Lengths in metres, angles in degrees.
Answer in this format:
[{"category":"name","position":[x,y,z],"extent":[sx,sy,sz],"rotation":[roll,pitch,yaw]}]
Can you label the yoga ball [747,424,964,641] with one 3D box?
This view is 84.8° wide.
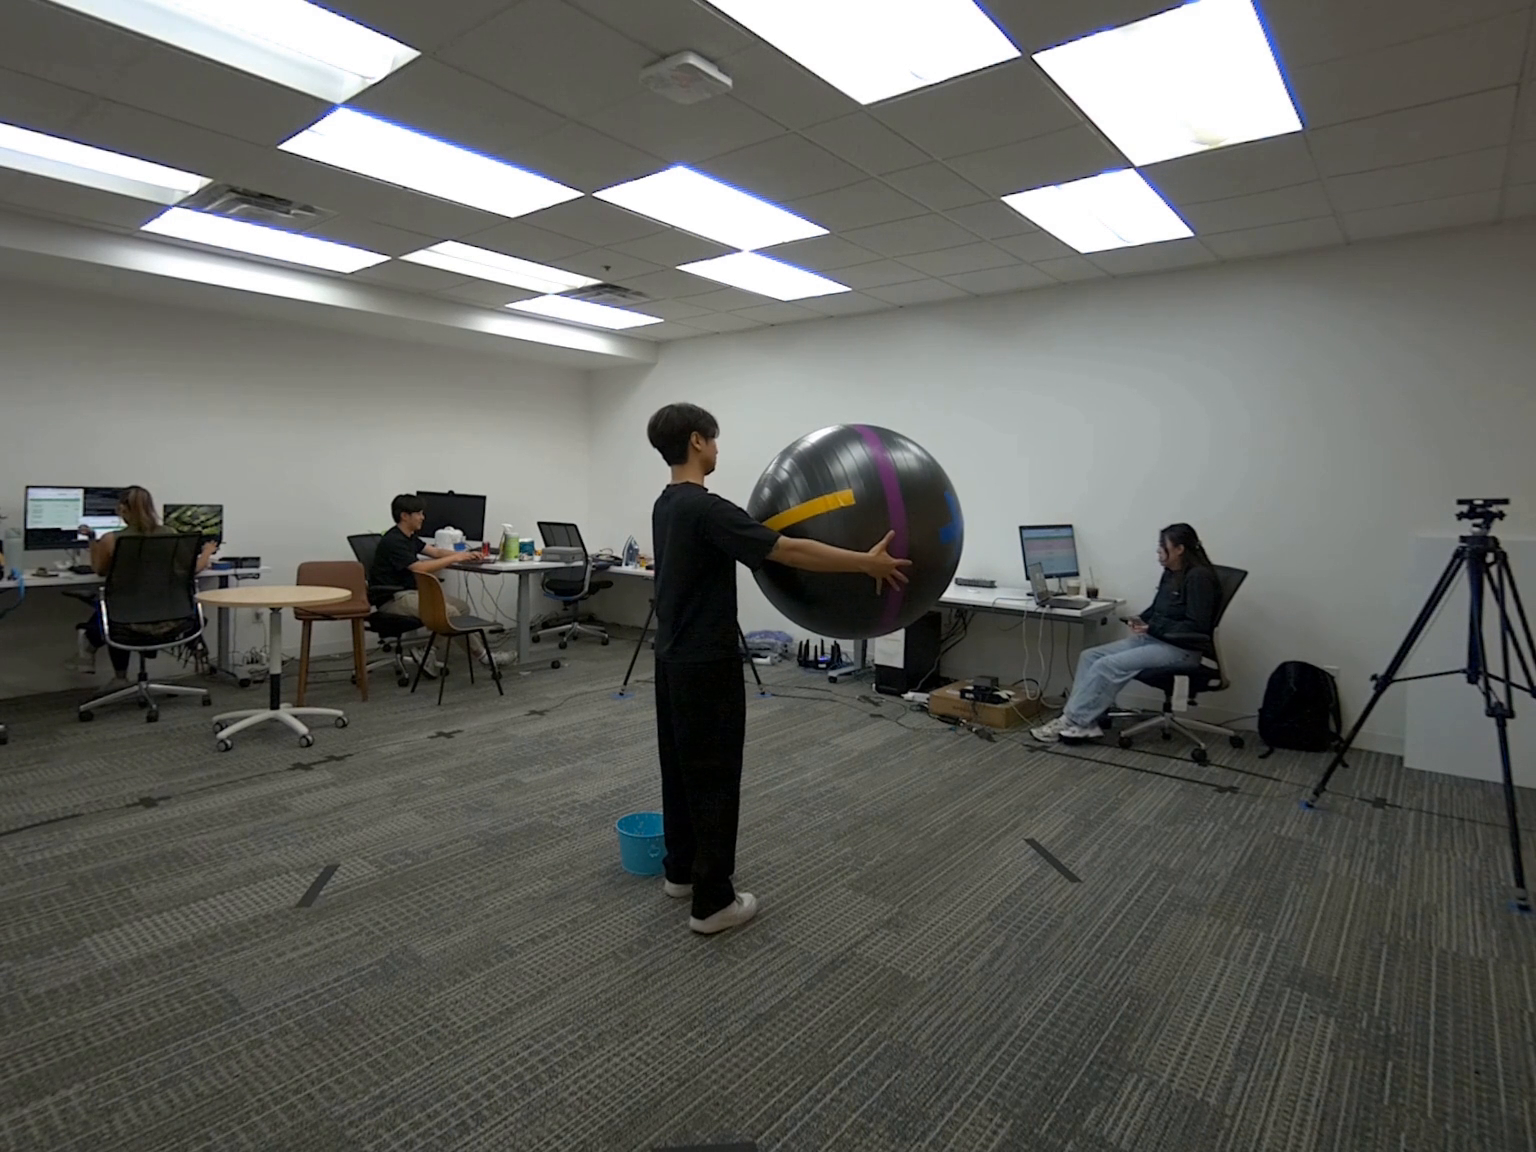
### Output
[{"category":"yoga ball","position":[0.298,-0.156,3.001],"extent":[0.757,0.756,0.761],"rotation":[1,4,-2]}]
